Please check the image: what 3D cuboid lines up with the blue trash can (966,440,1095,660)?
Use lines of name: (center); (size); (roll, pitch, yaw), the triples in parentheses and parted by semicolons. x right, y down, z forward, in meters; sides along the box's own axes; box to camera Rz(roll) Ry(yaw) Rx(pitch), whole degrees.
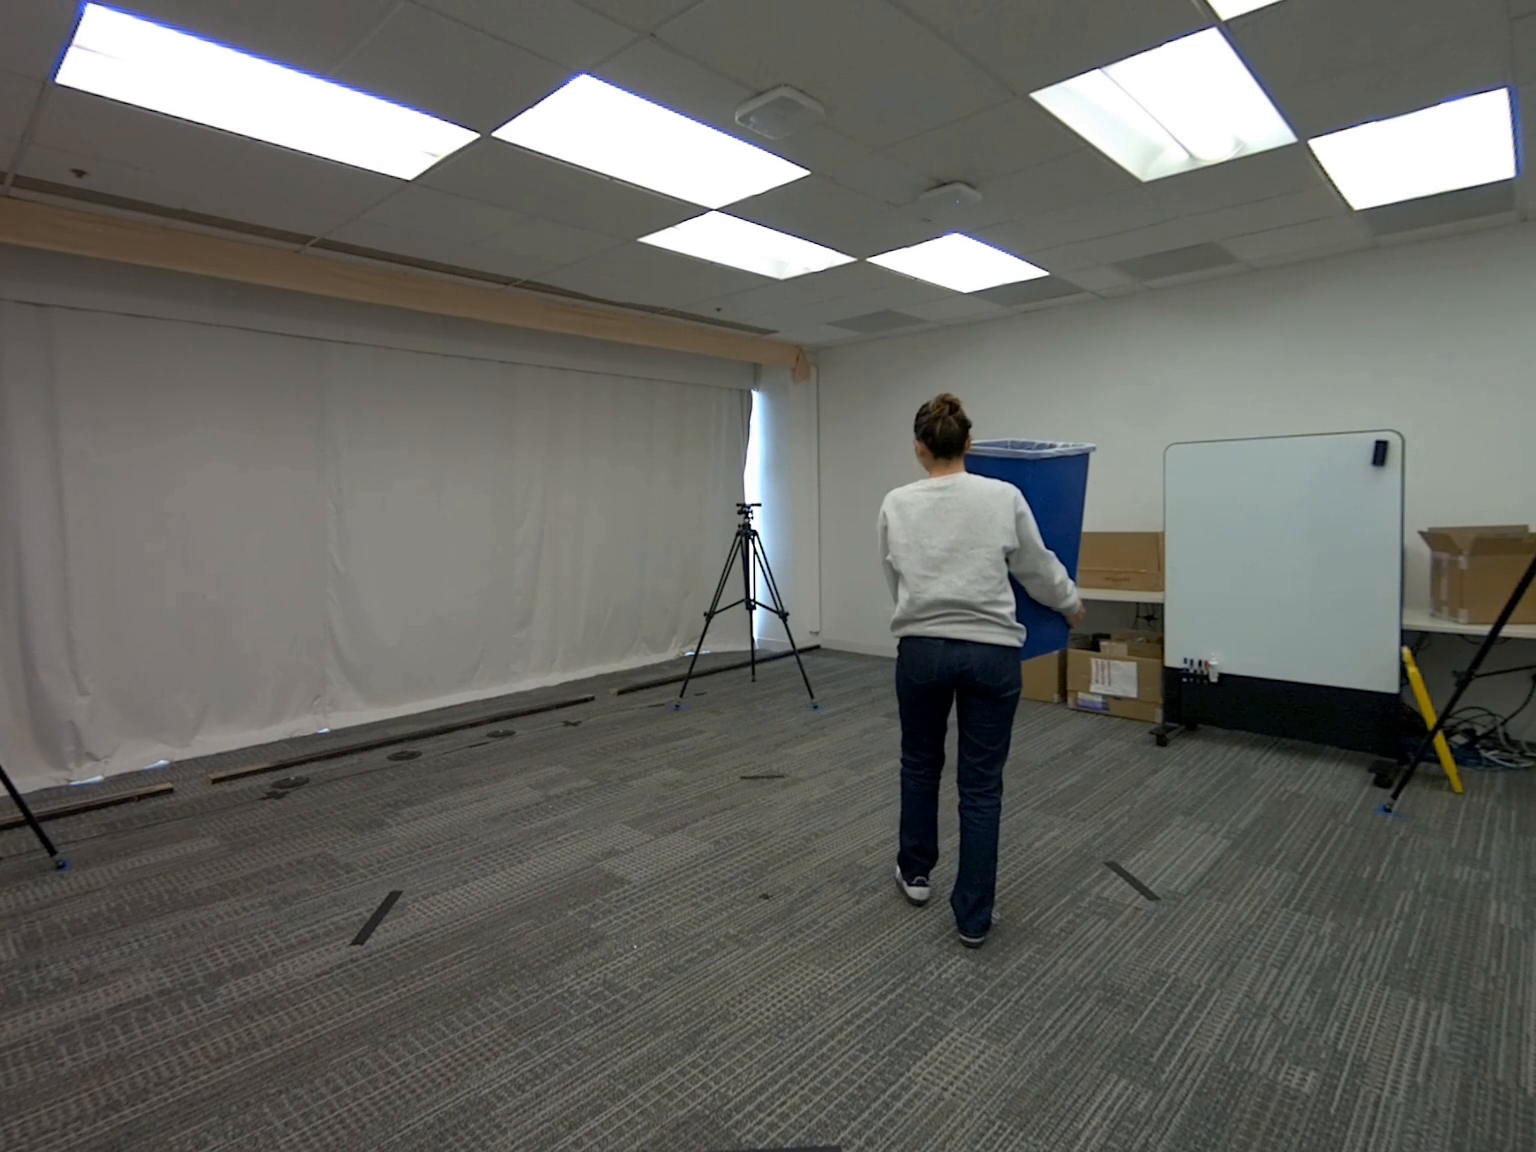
blue trash can: (0.864, -0.108, 2.944); (0.364, 0.708, 0.391); (-9, 14, -36)
